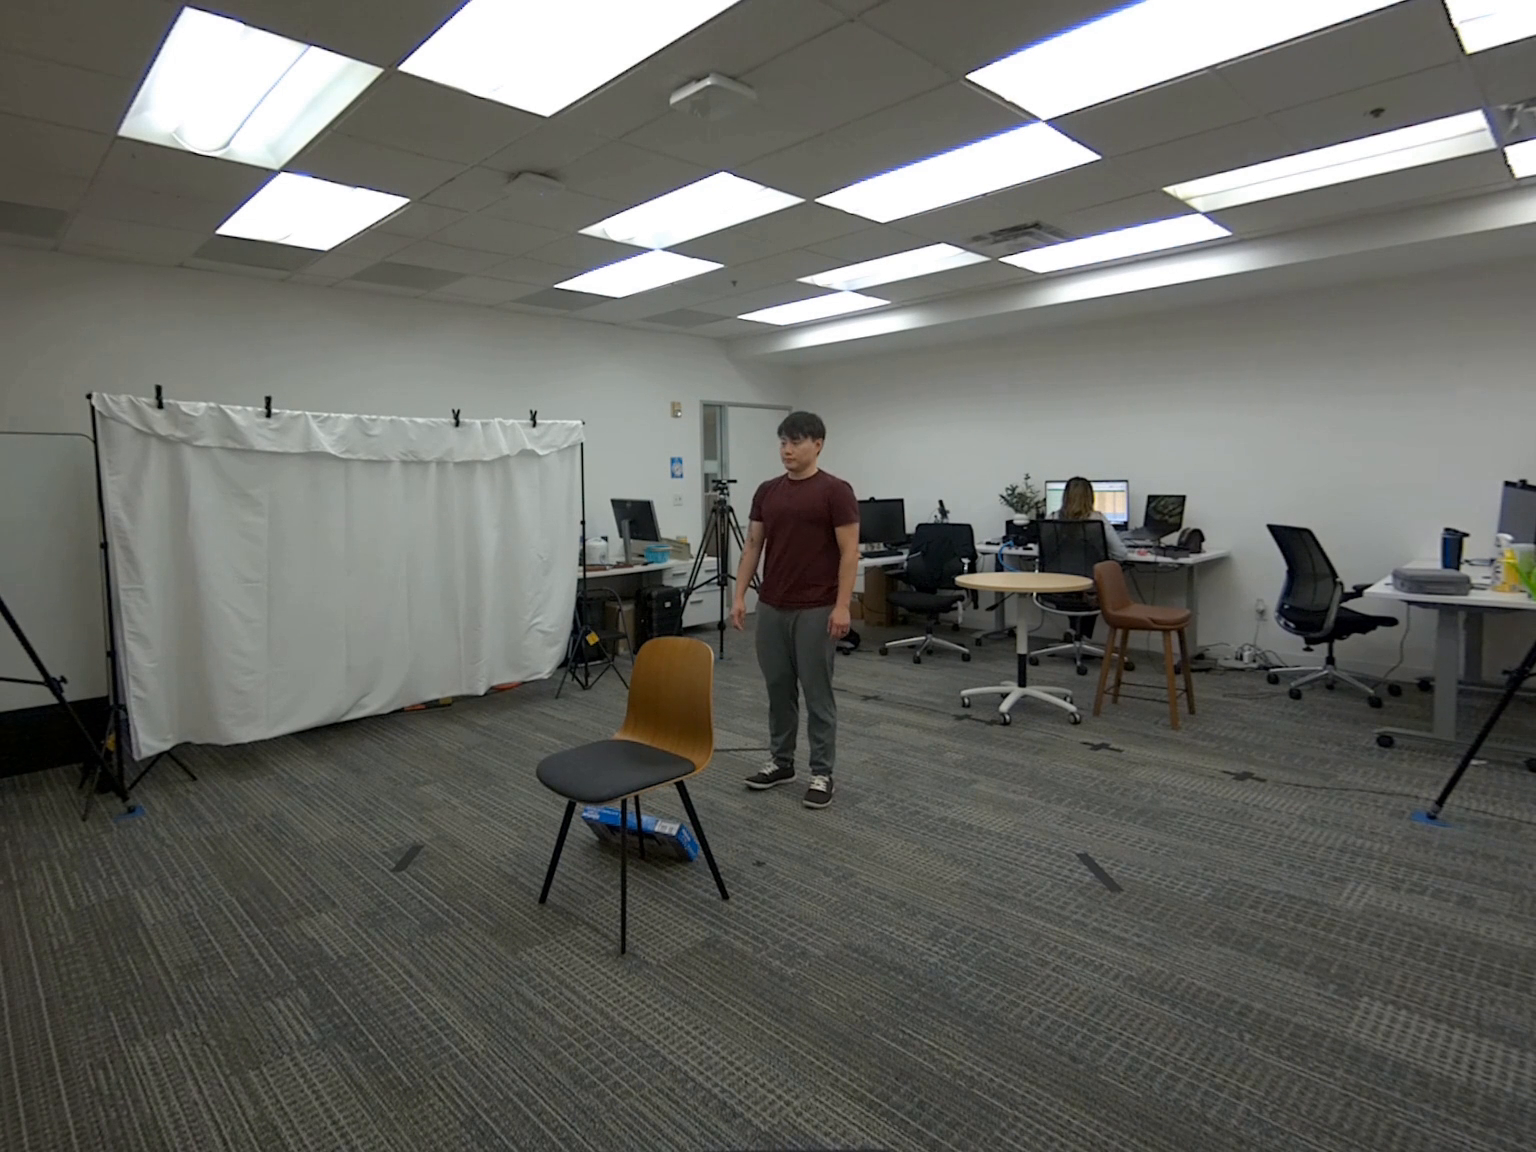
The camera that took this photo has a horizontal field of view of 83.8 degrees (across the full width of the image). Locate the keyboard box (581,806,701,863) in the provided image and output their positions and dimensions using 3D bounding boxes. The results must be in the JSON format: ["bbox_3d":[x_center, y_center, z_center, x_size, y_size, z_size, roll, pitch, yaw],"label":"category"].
[{"bbox_3d":[-0.482,0.960,3.210,0.448,0.170,0.059,2,43,29],"label":"keyboard box"}]
